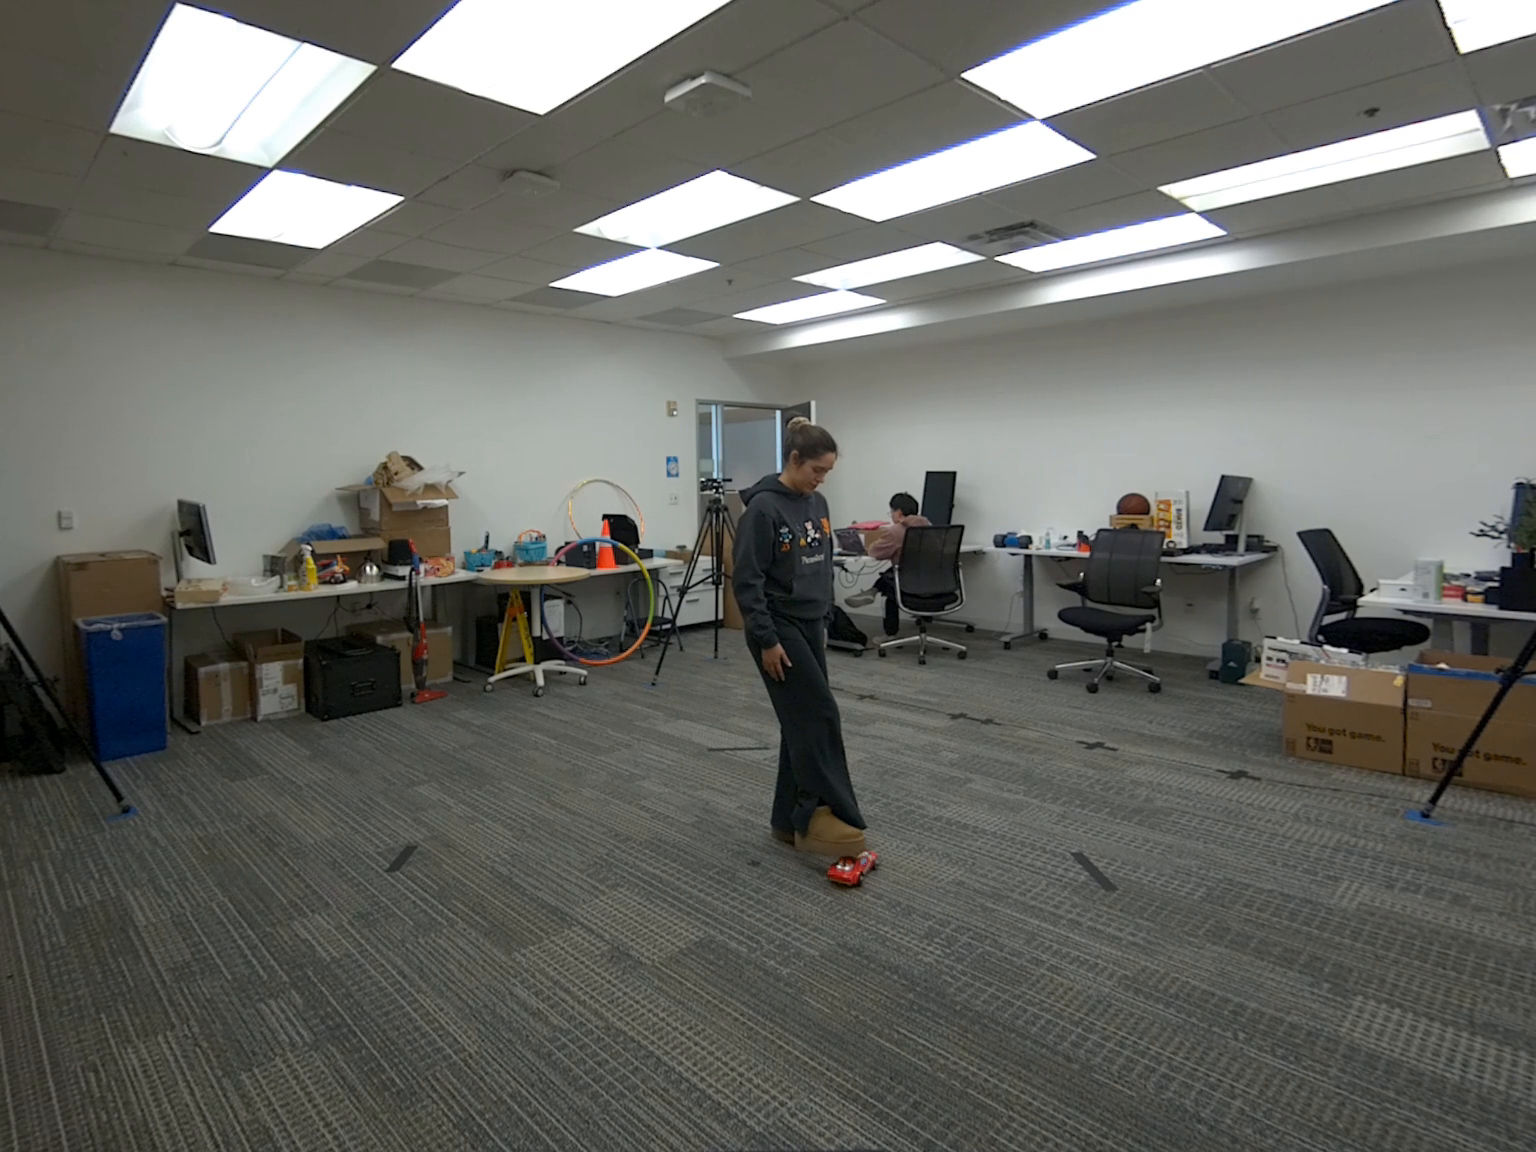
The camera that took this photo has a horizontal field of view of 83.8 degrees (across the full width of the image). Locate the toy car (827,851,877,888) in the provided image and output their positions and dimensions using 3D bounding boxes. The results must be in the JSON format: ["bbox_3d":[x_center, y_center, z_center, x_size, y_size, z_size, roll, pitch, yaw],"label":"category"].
[{"bbox_3d":[0.296,1.023,2.974,0.134,0.083,0.247,3,-3,30],"label":"toy car"}]
